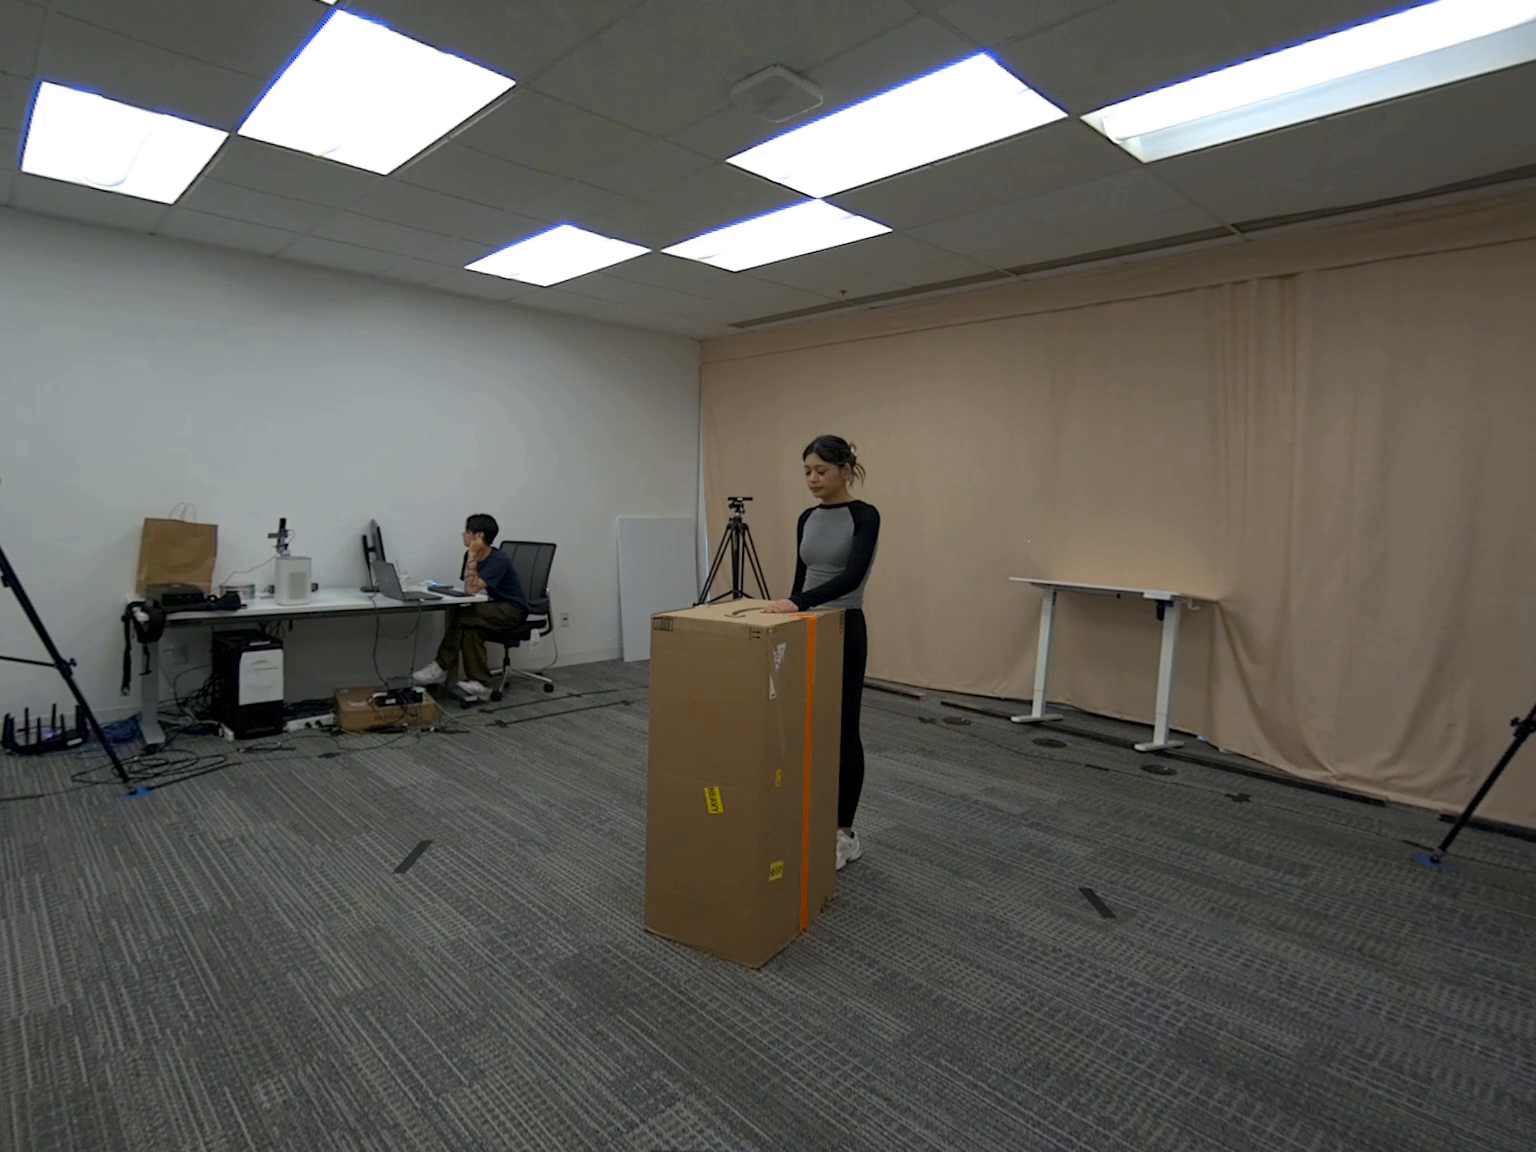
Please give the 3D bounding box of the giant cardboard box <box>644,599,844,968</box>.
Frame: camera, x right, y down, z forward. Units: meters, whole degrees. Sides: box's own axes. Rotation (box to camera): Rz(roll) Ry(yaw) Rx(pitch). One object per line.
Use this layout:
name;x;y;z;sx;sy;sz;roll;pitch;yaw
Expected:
giant cardboard box;-0.070;0.632;2.804;0.456;1.025;0.573;2;3;28
